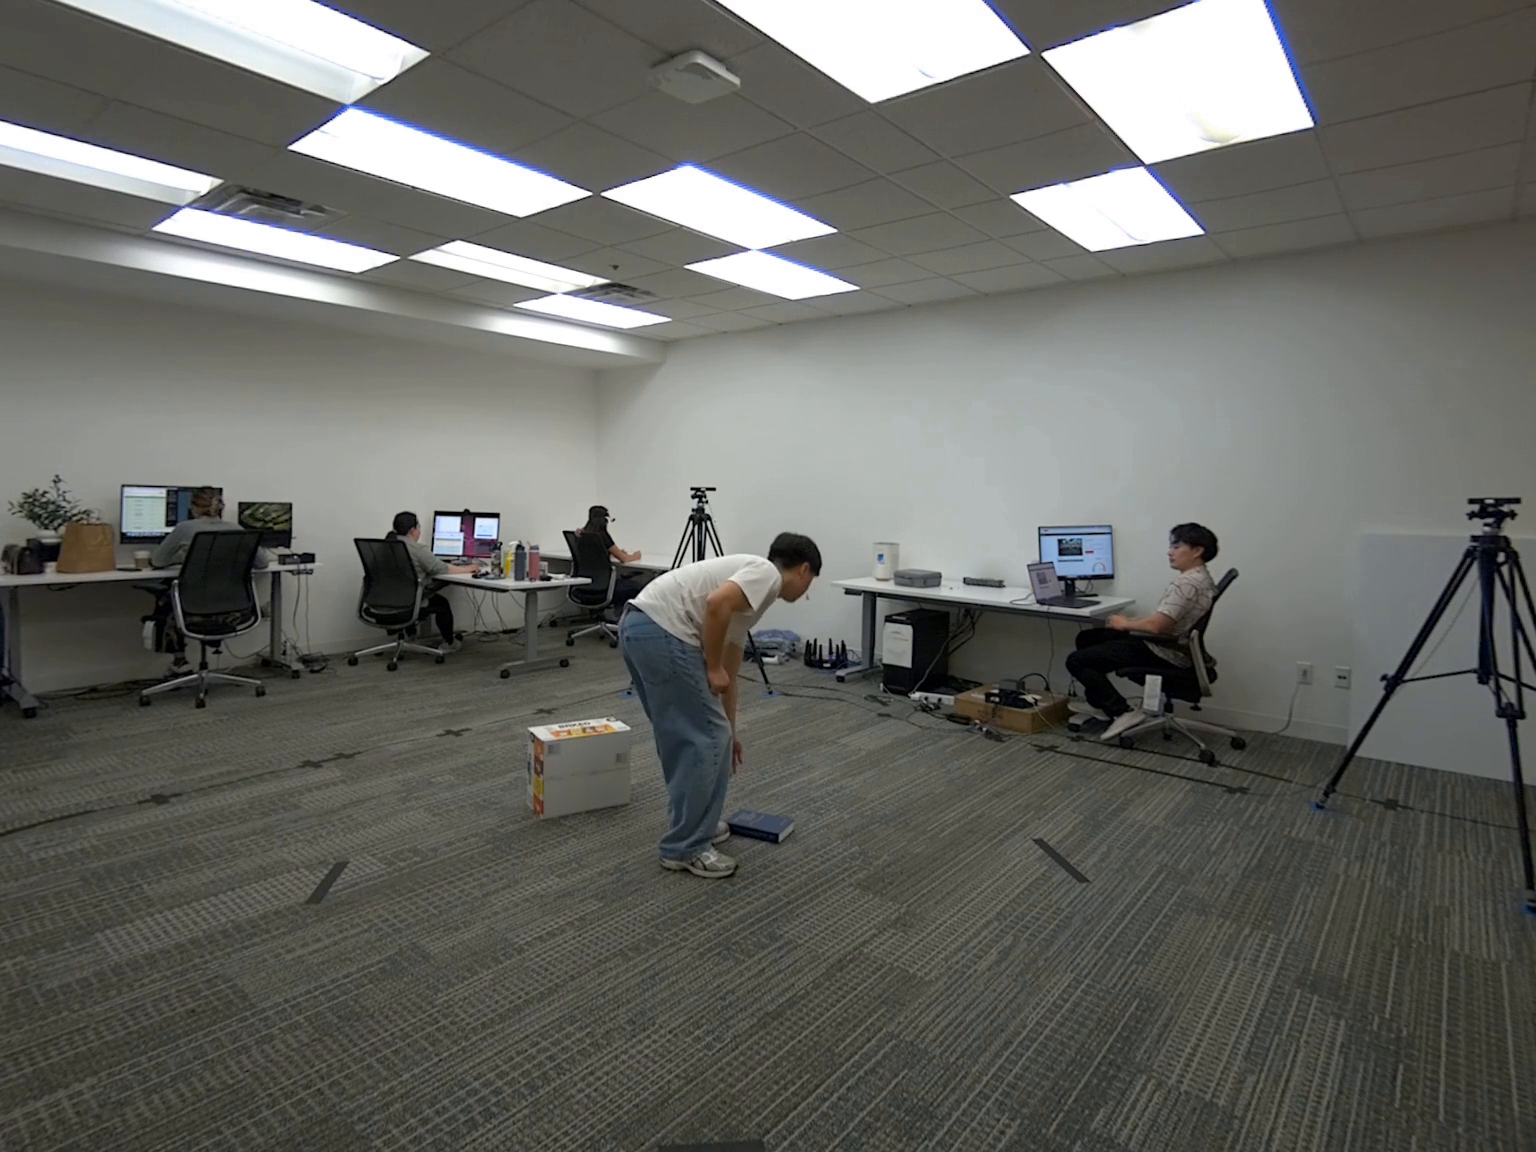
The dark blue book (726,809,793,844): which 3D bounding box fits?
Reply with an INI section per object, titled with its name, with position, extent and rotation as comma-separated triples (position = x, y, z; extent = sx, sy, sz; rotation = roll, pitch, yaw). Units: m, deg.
[dark blue book]
position = -0.044, 1.012, 3.458
extent = 0.251, 0.045, 0.160
rotation = 3, 6, 25
